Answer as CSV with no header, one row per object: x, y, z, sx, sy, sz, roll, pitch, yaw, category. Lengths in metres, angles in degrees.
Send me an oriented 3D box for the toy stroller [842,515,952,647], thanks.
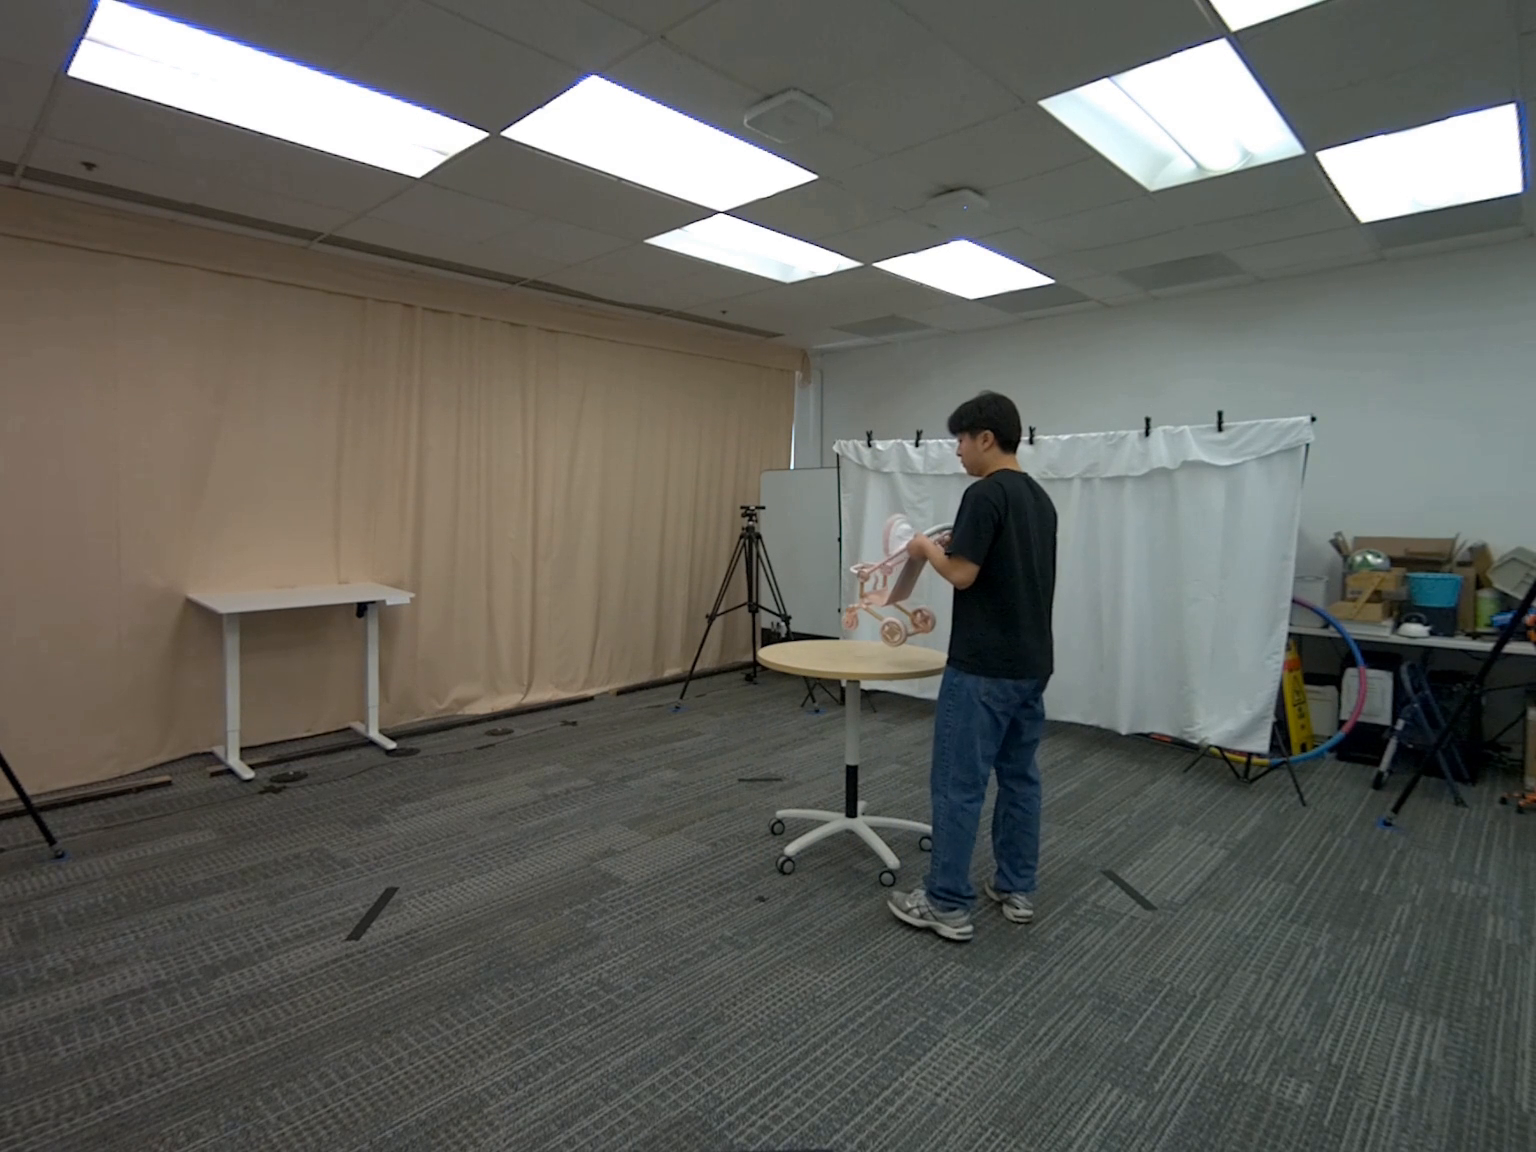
0.478,0.010,3.174,0.354,0.531,0.273,24,21,37,toy stroller
